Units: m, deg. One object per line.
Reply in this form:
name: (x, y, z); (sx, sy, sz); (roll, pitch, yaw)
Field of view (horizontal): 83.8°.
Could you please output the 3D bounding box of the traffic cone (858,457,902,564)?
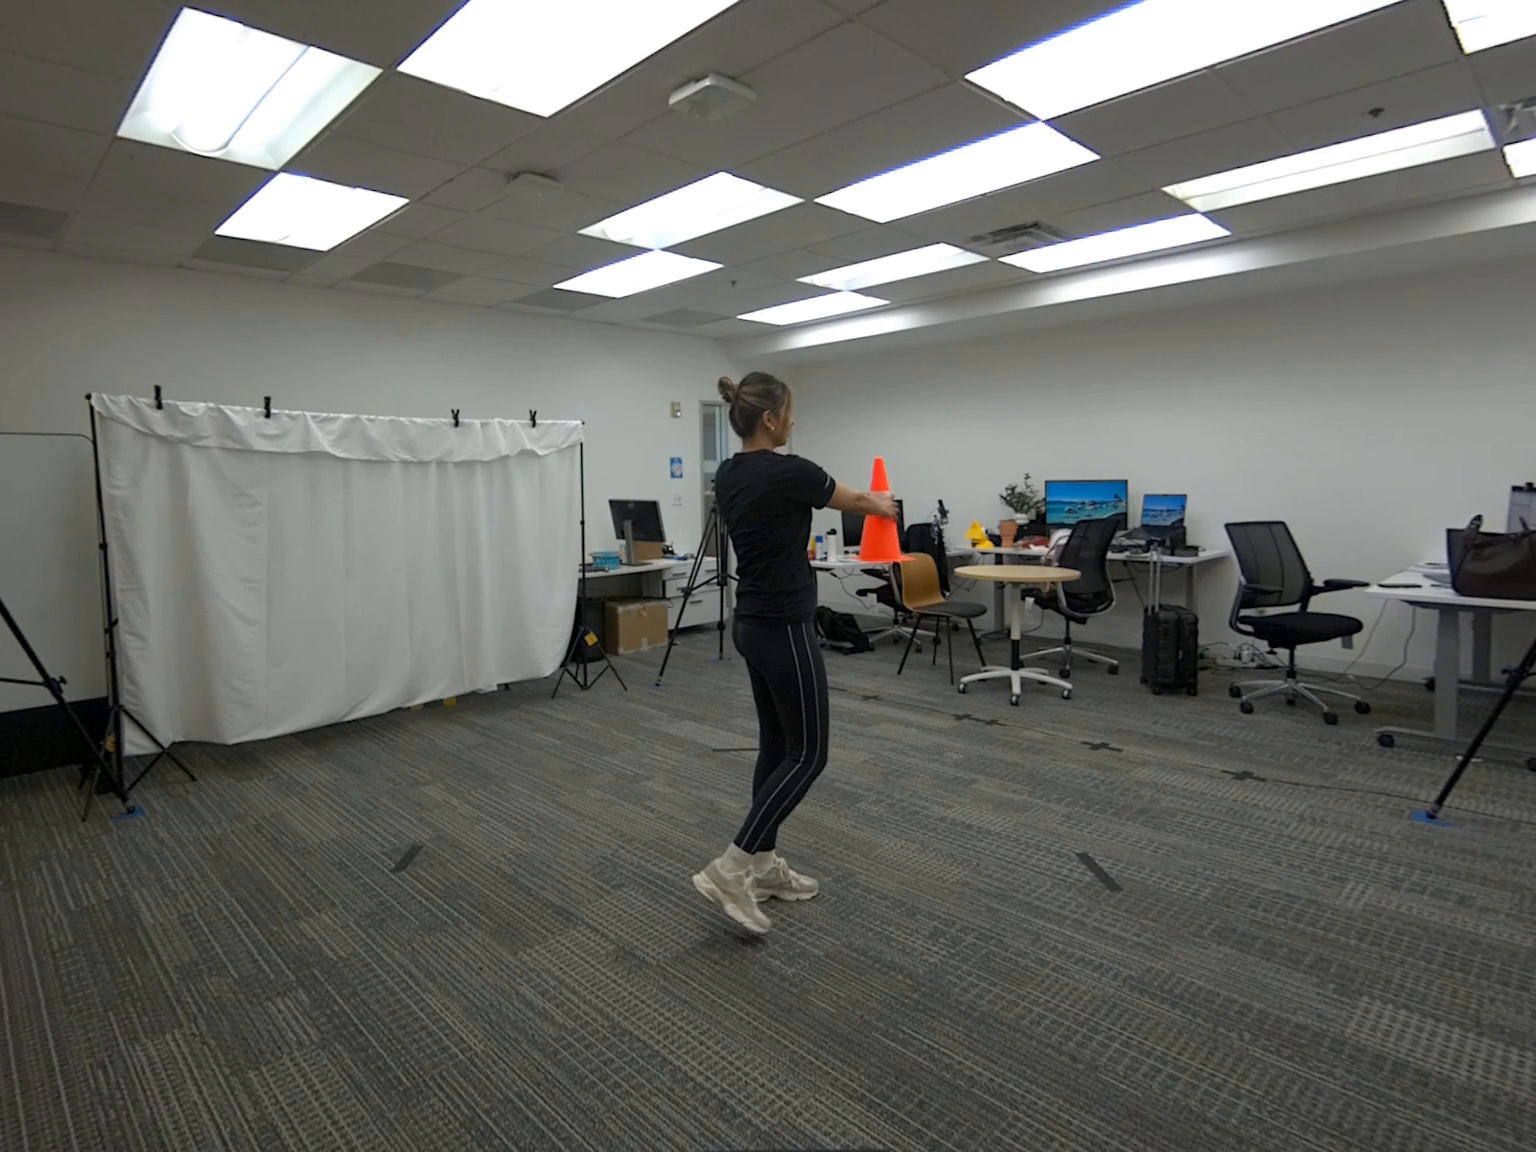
traffic cone: (0.432, -0.255, 3.217); (0.210, 0.382, 0.199); (0, 6, 28)
